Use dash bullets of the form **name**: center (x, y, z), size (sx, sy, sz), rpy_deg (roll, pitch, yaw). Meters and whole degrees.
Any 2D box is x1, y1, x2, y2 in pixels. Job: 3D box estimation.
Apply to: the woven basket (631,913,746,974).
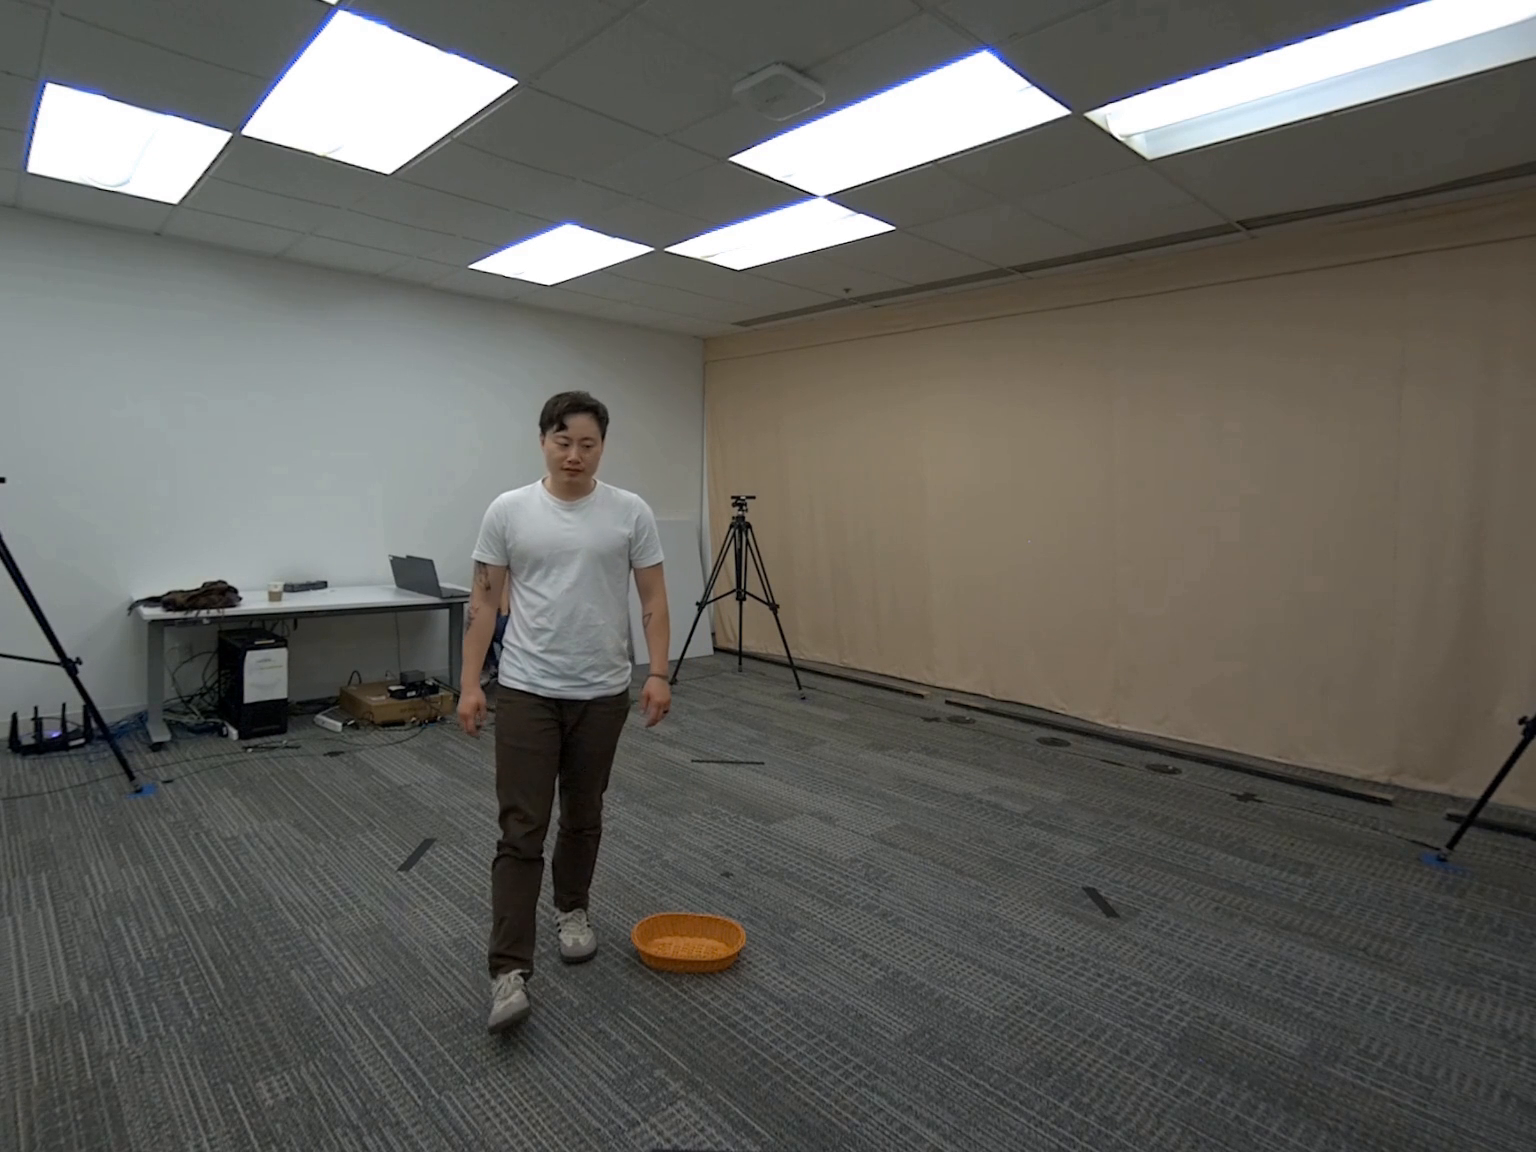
- **woven basket**: center (-0.249, 1.114, 2.539), size (0.352, 0.073, 0.252), rpy_deg (2, 6, 5)
